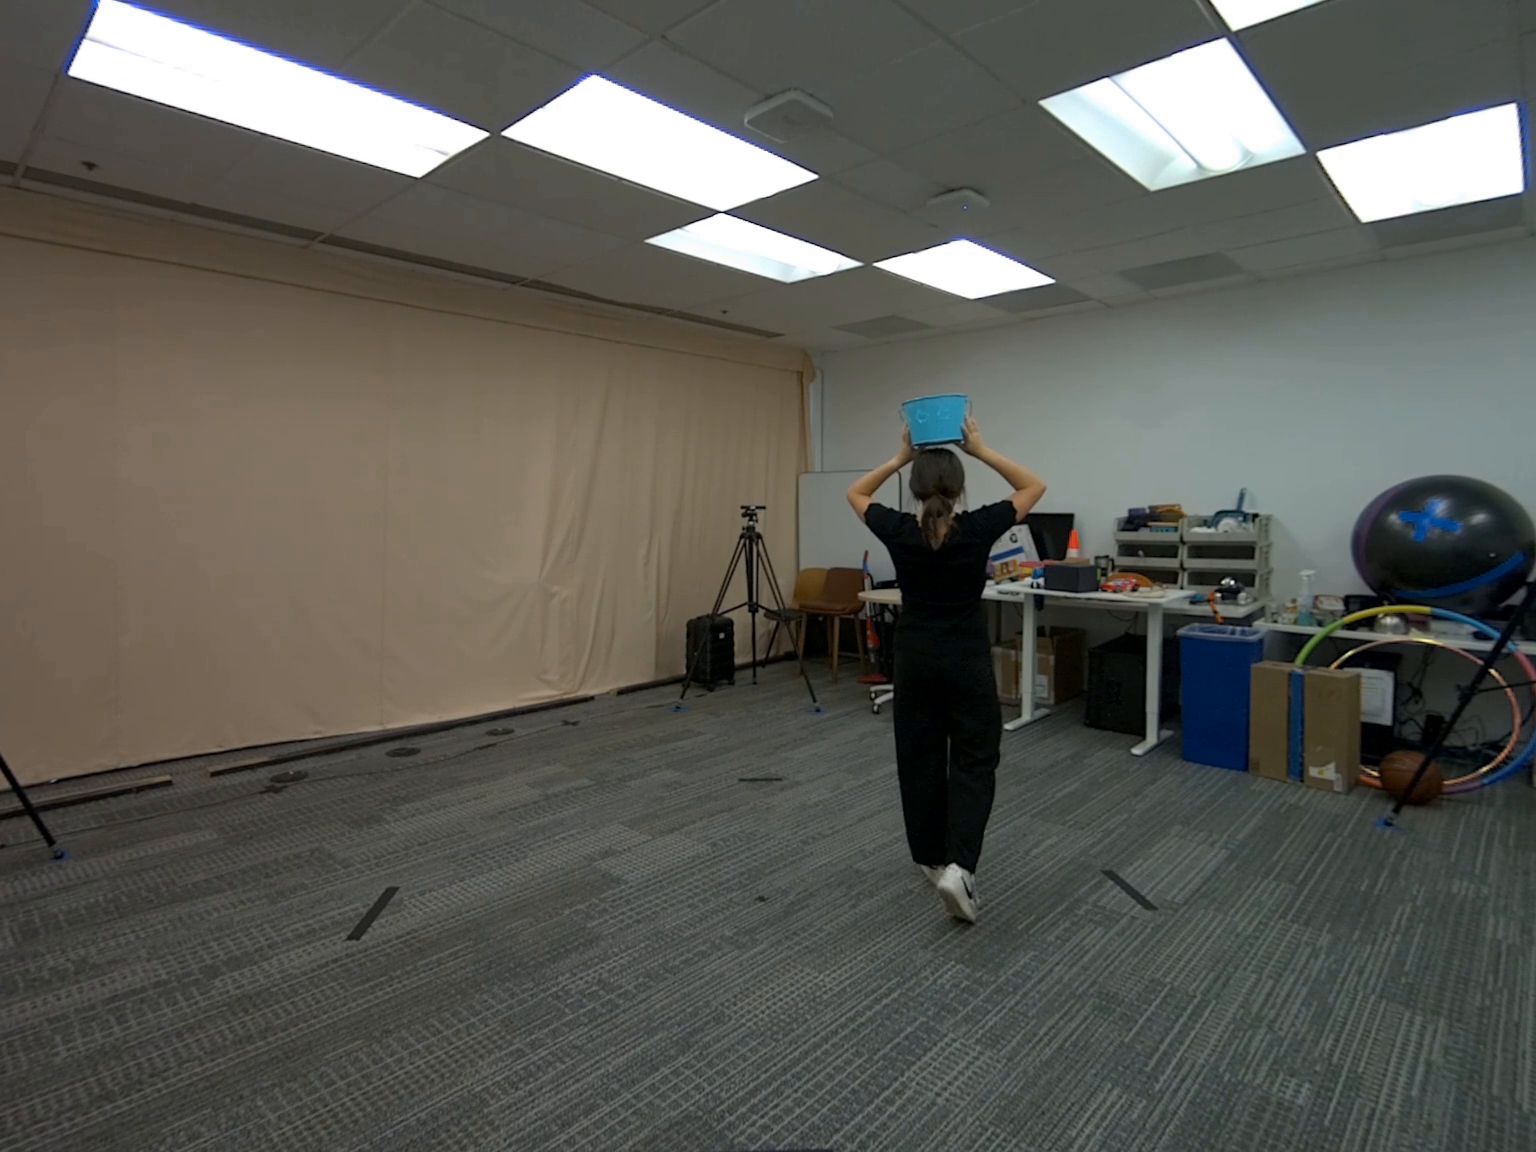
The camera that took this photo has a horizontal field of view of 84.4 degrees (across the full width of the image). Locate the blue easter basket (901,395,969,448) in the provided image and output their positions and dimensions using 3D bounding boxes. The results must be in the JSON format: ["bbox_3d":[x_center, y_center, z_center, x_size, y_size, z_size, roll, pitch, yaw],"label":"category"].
[{"bbox_3d":[0.624,-0.549,3.003,0.243,0.156,0.244,-5,1,-2],"label":"blue easter basket"}]
